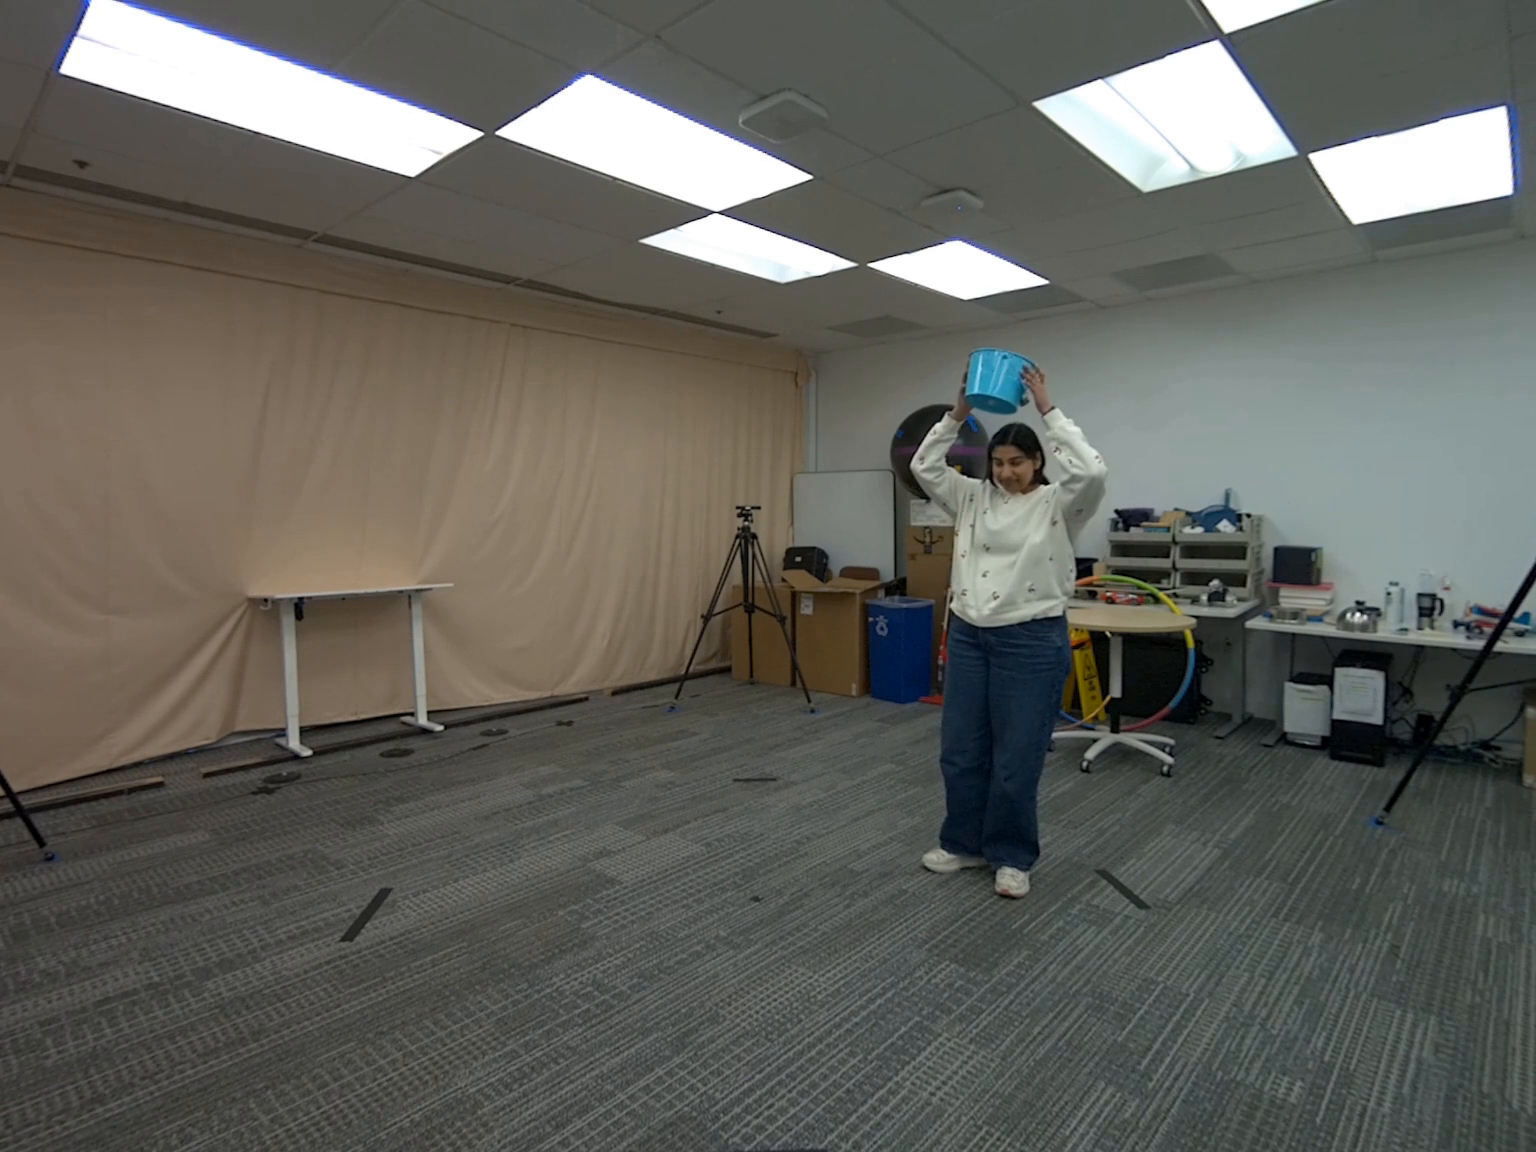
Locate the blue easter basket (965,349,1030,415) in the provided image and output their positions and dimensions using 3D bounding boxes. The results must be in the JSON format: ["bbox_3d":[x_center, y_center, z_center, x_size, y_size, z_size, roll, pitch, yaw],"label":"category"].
[{"bbox_3d":[0.806,-0.651,2.881,0.243,0.156,0.243,19,-2,-1],"label":"blue easter basket"}]
